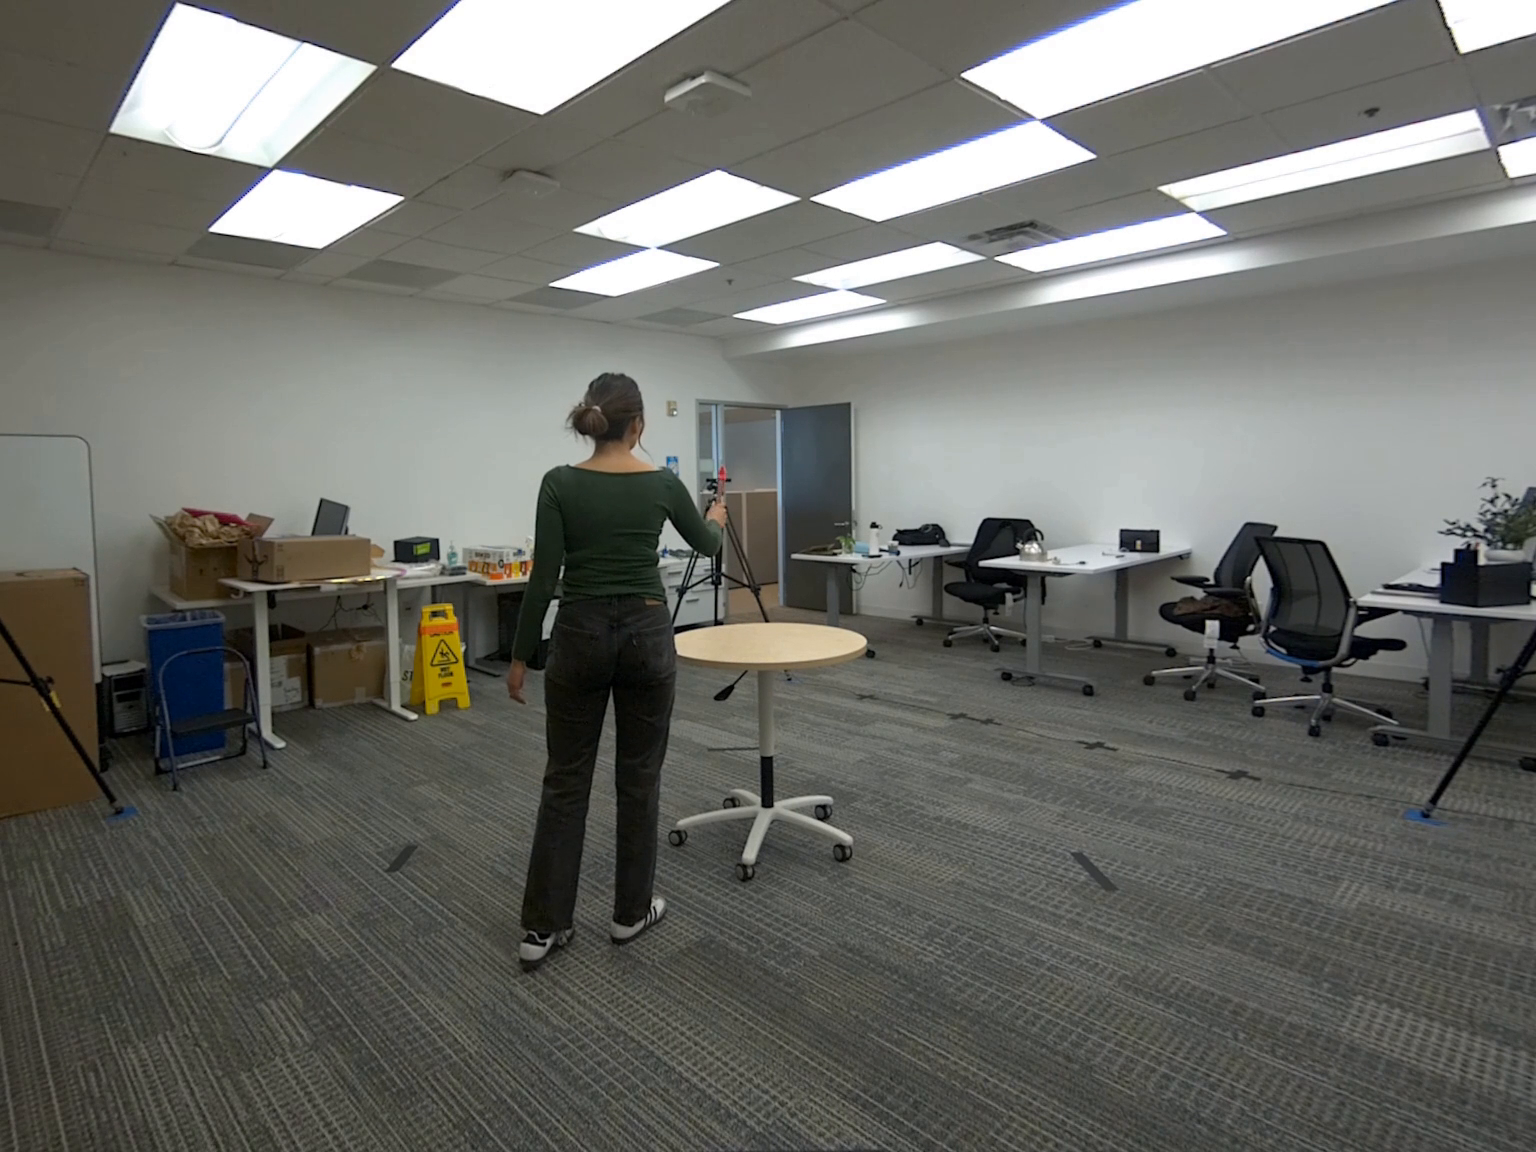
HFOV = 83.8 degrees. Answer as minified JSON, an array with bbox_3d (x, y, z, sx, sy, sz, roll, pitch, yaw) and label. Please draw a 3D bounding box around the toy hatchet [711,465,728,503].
[{"bbox_3d":[-0.185,-0.265,3.166,0.029,0.274,0.129,7,-20,0],"label":"toy hatchet"}]
